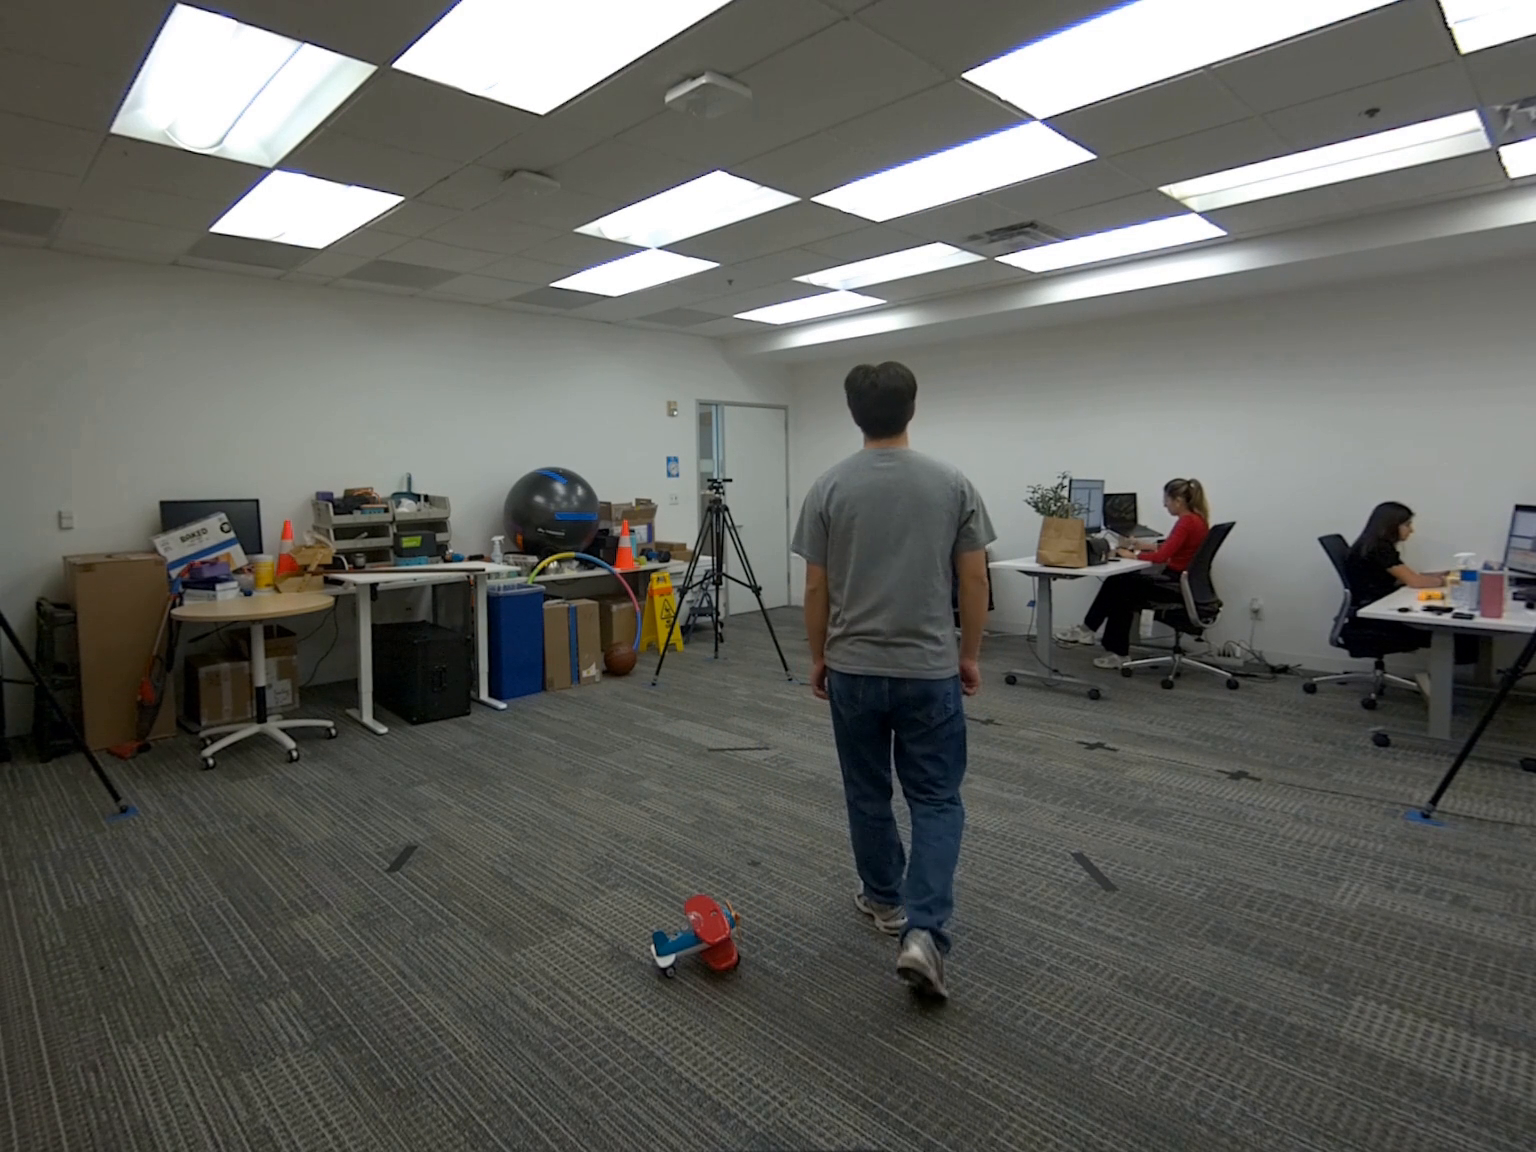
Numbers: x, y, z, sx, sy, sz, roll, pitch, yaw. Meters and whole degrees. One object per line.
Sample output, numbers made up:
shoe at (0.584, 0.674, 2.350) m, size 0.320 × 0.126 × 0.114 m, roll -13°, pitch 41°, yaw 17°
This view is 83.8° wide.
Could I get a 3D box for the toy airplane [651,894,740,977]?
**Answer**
toy airplane at (-0.188, 1.057, 2.436) m, size 0.259 × 0.156 × 0.252 m, roll 3°, pitch 7°, yaw 41°
